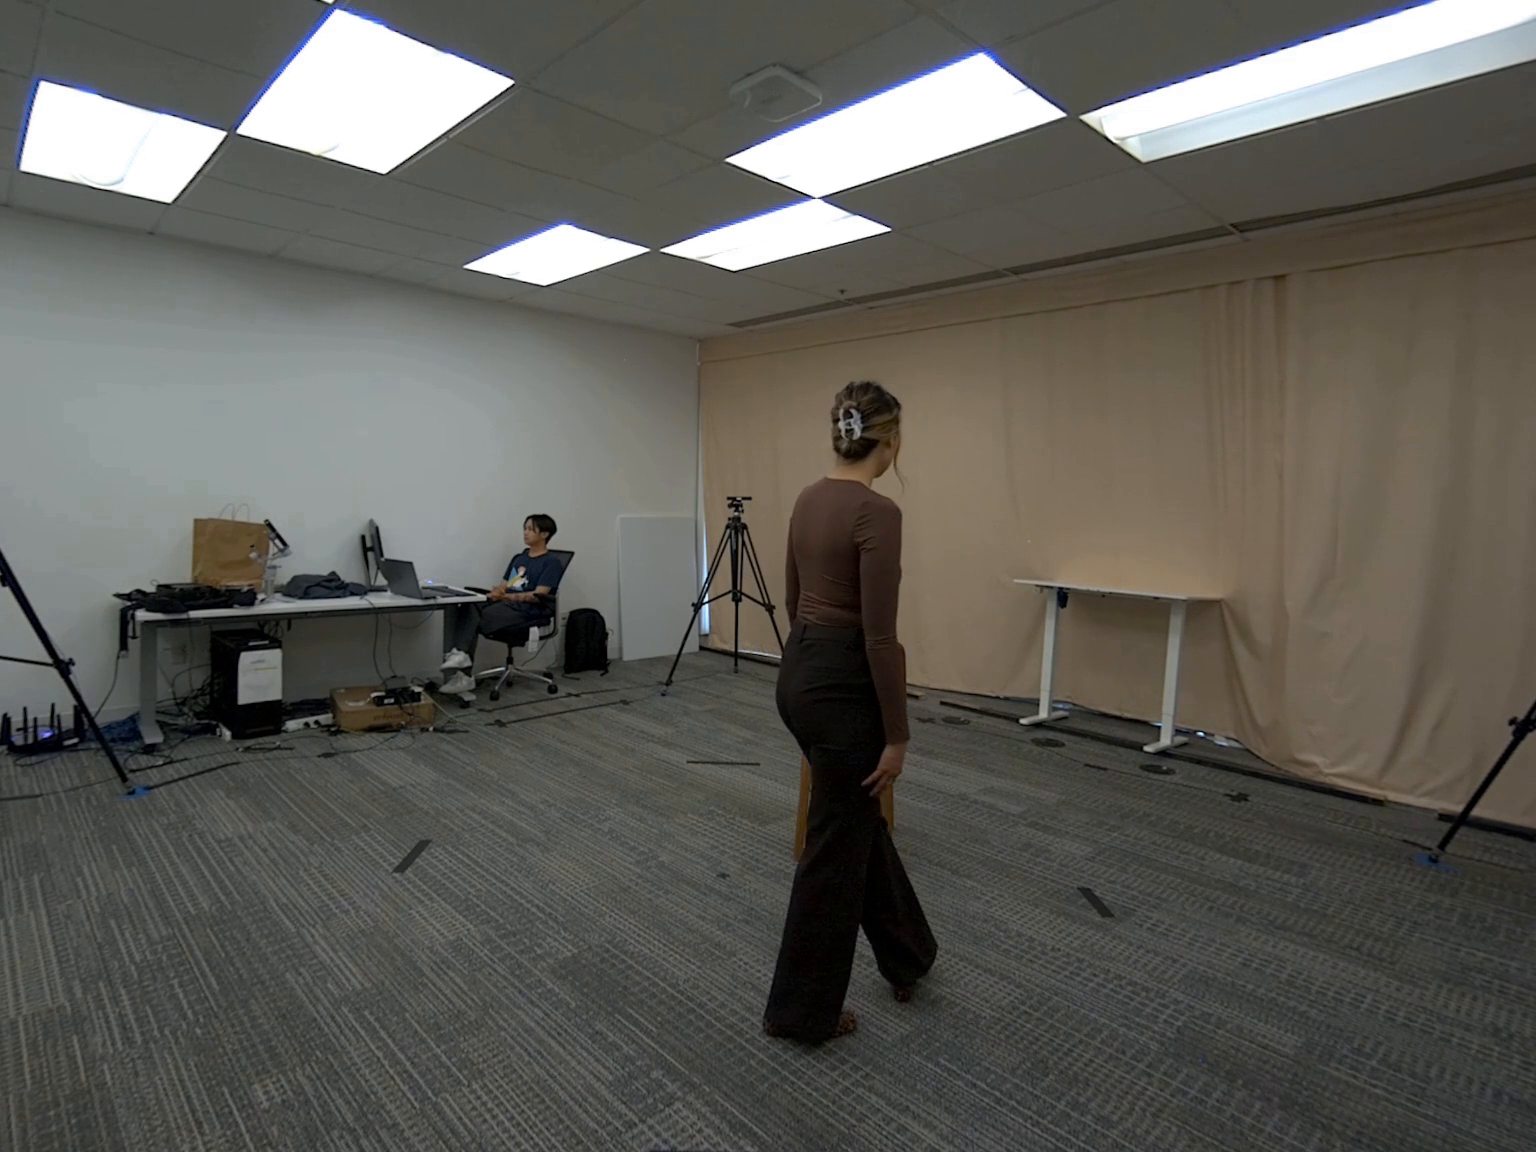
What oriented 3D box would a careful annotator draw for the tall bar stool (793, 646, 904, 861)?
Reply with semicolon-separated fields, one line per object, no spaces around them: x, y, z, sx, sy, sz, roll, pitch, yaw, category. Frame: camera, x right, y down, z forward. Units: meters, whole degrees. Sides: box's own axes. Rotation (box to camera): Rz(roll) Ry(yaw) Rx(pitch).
0.322;0.656;3.401;0.460;0.887;0.465;2;5;9;tall bar stool
